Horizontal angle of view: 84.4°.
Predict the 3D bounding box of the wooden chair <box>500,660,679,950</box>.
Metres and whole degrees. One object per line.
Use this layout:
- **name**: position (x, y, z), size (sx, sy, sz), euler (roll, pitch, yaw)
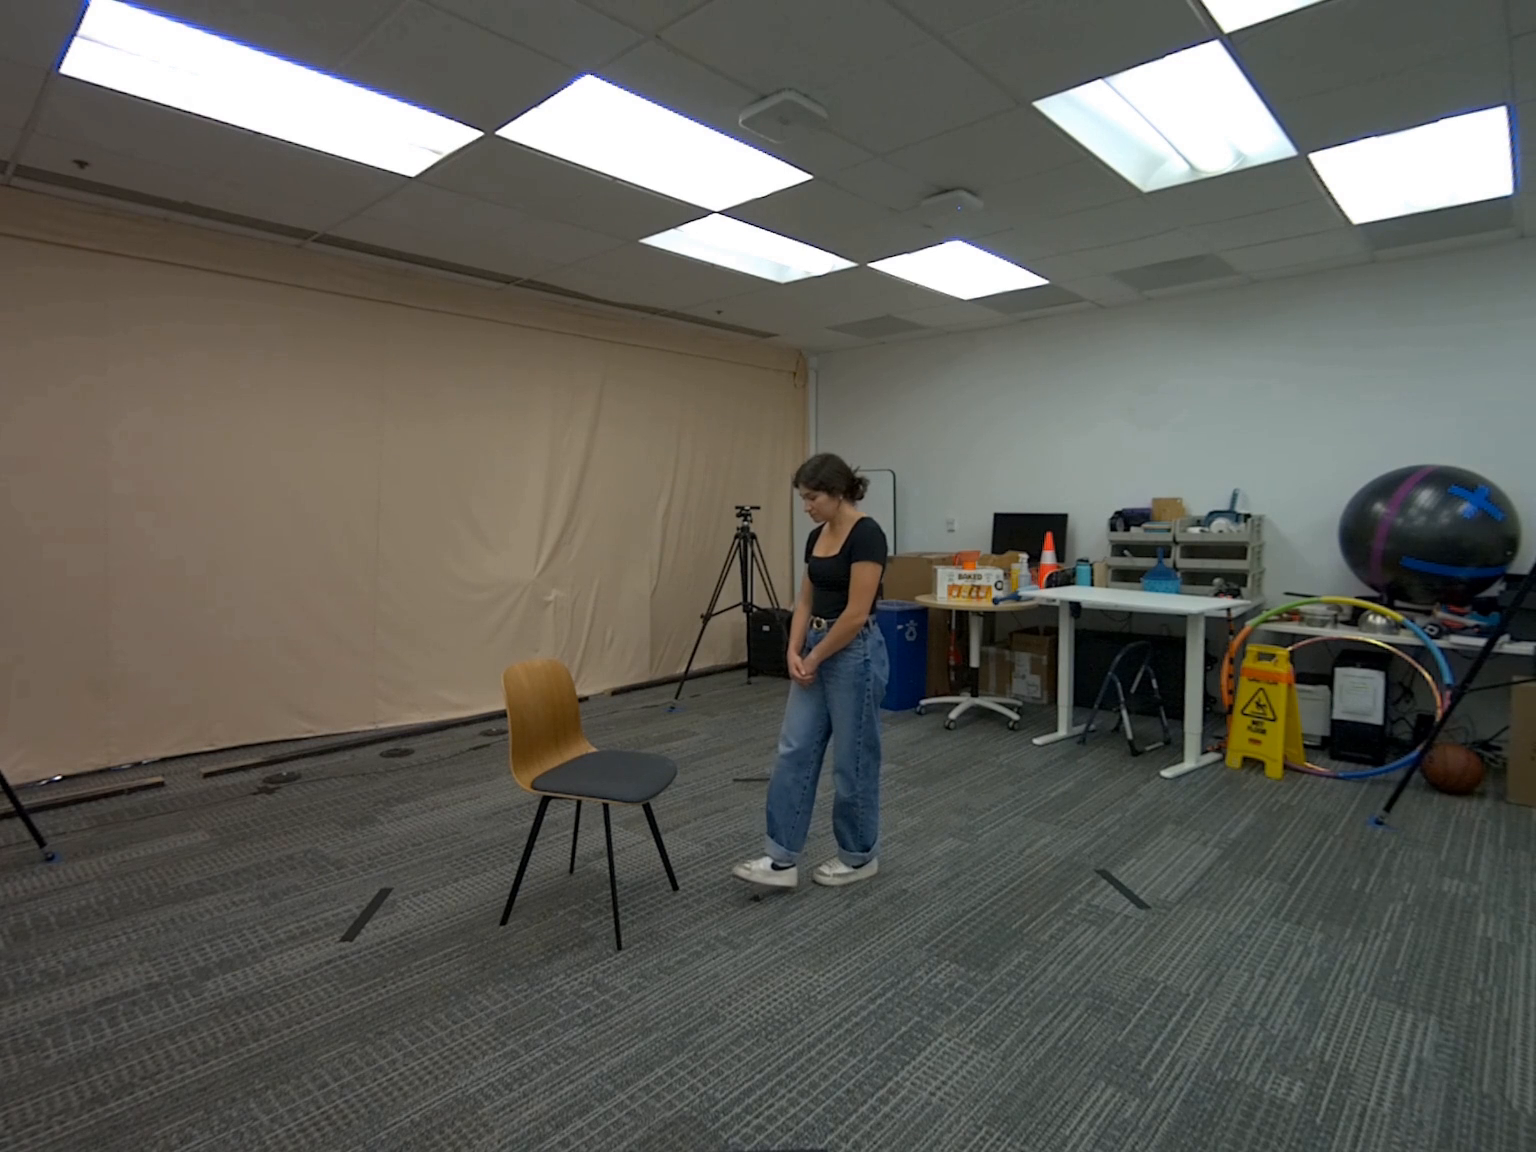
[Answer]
- **wooden chair**: position (-0.604, 0.730, 2.898), size (0.534, 0.877, 0.468), euler (-4, 1, 21)
